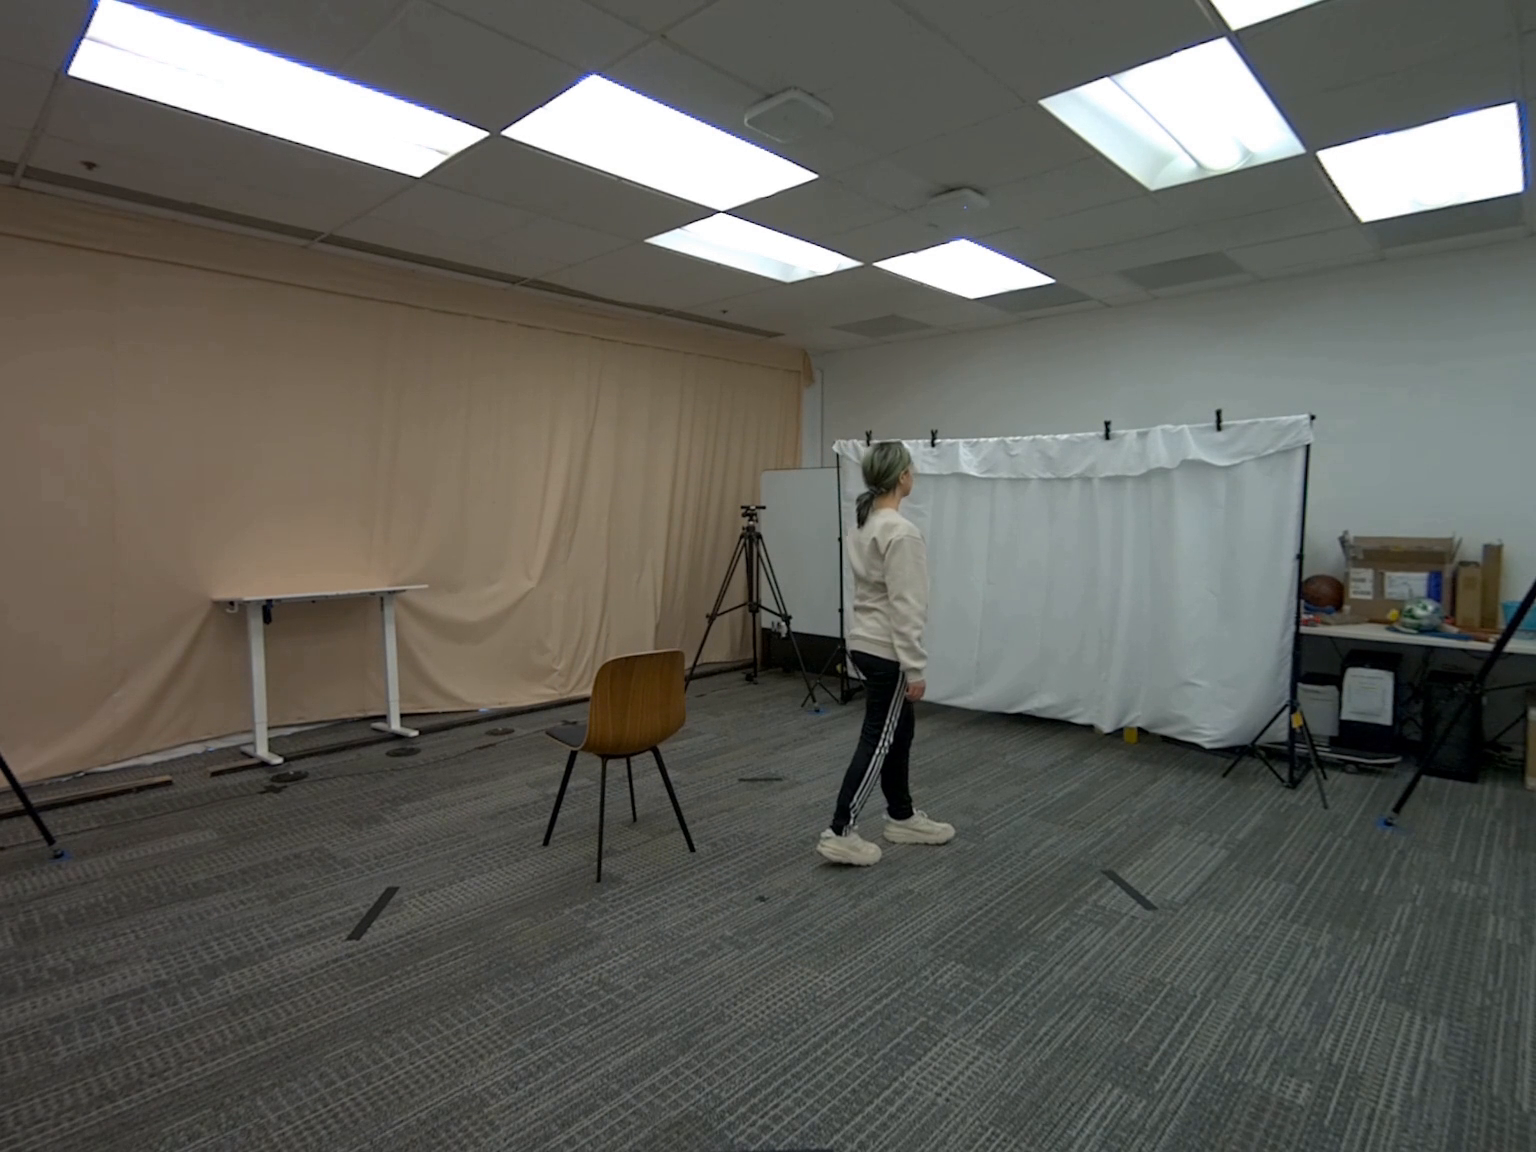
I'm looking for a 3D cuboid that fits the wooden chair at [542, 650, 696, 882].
[{"bbox_3d":[-0.618,0.688,3.413,0.464,0.874,0.541,-3,9,-39],"label":"wooden chair"}]
